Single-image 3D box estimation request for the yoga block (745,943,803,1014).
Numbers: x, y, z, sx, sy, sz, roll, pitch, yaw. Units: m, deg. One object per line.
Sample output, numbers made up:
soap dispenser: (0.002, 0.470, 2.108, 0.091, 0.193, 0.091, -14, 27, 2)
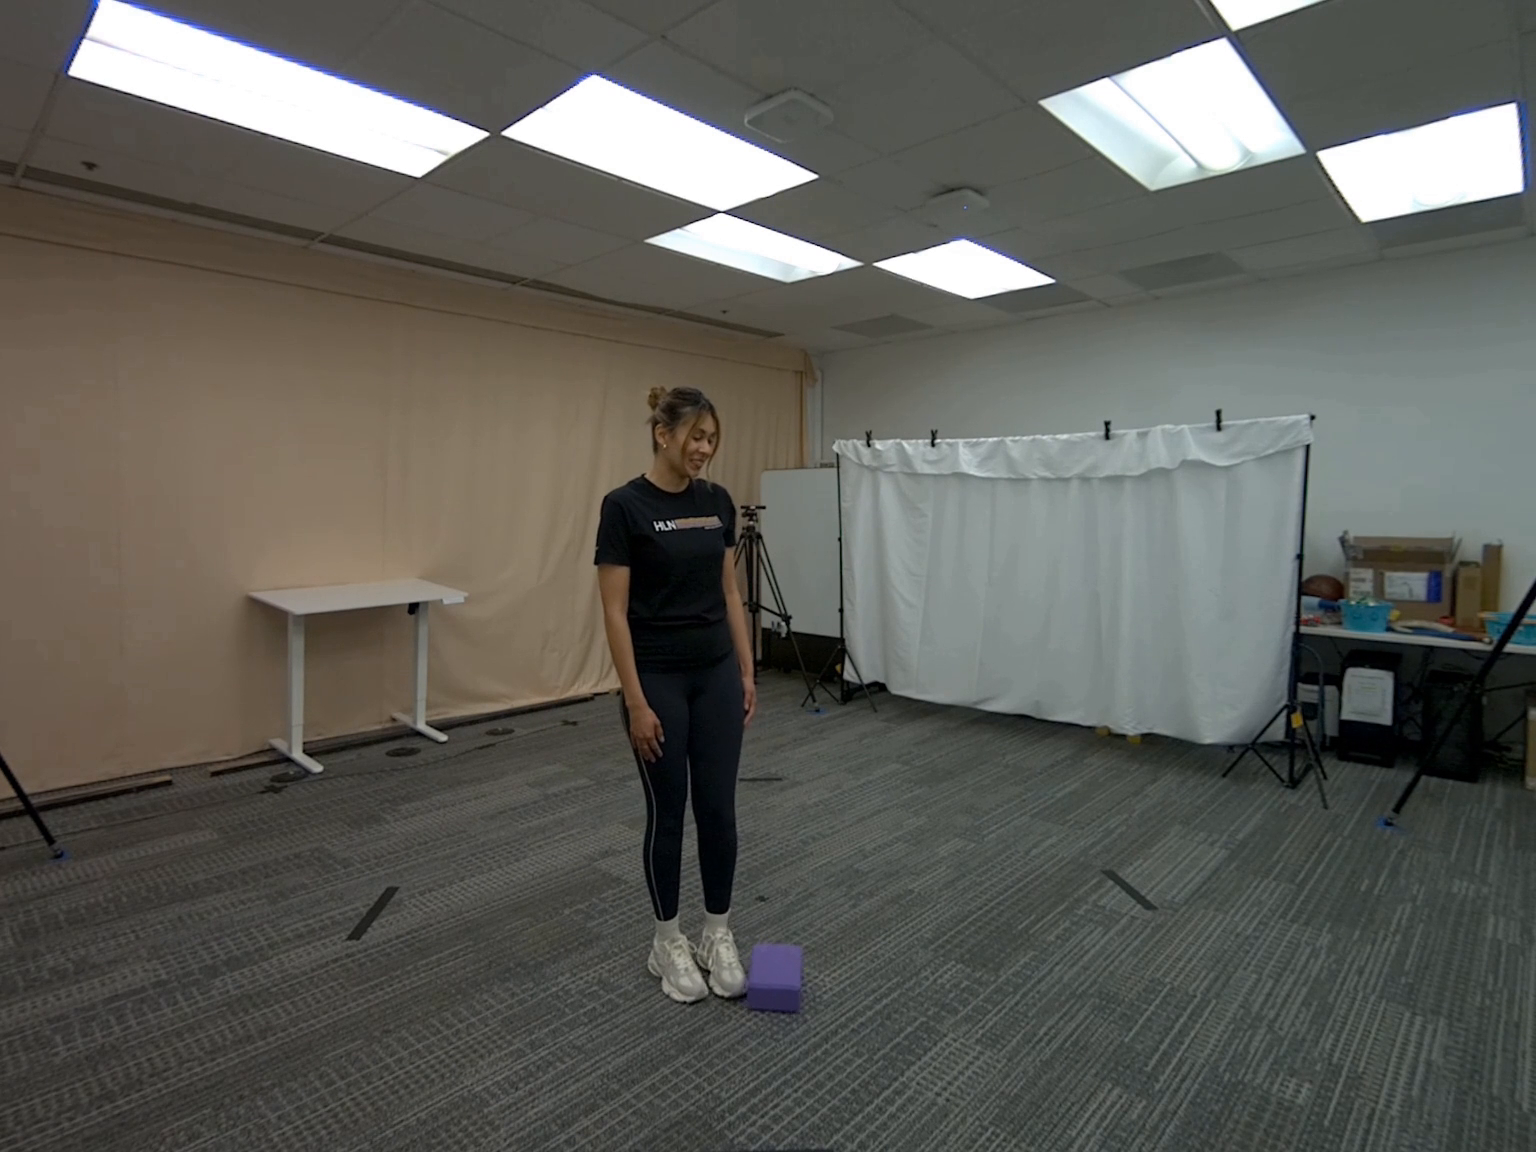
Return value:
yoga block: (0.027, 1.152, 2.415, 0.150, 0.076, 0.228, 1, 3, 5)
